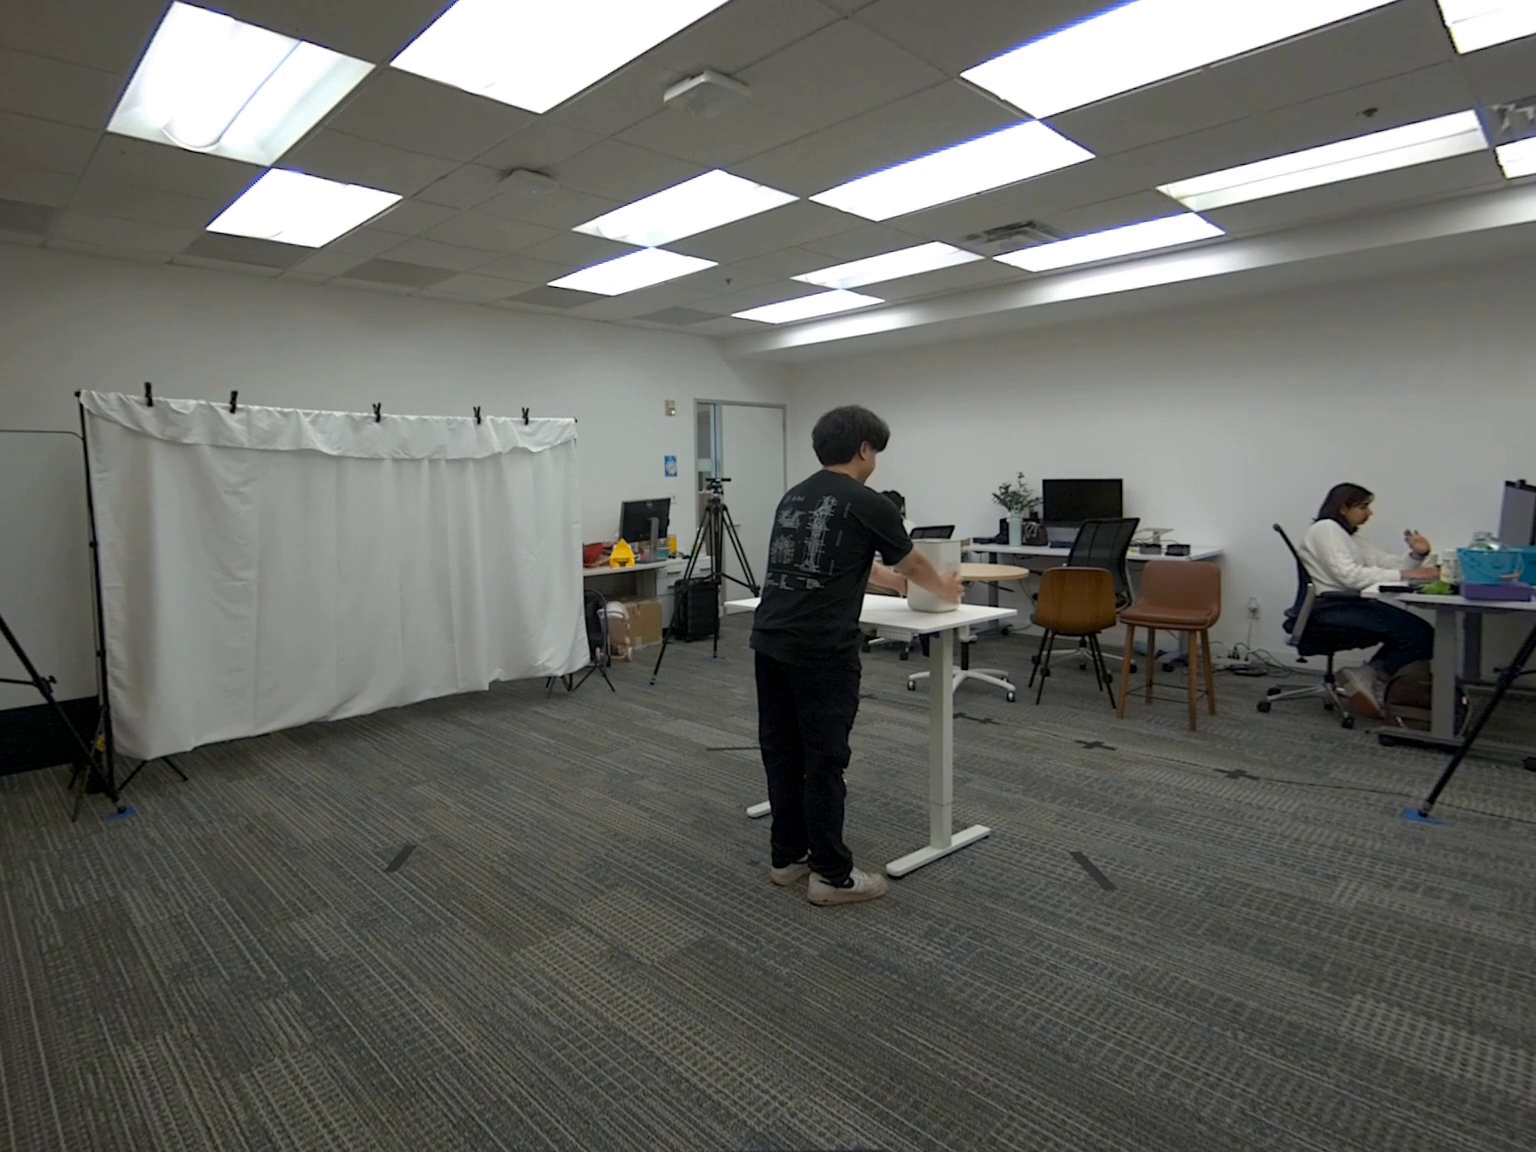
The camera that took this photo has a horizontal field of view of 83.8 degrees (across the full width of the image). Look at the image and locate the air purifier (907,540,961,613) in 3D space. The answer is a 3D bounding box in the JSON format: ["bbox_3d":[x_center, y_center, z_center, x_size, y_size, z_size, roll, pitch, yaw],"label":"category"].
[{"bbox_3d":[0.638,-0.002,3.235,0.167,0.264,0.176,-5,5,-42],"label":"air purifier"}]
